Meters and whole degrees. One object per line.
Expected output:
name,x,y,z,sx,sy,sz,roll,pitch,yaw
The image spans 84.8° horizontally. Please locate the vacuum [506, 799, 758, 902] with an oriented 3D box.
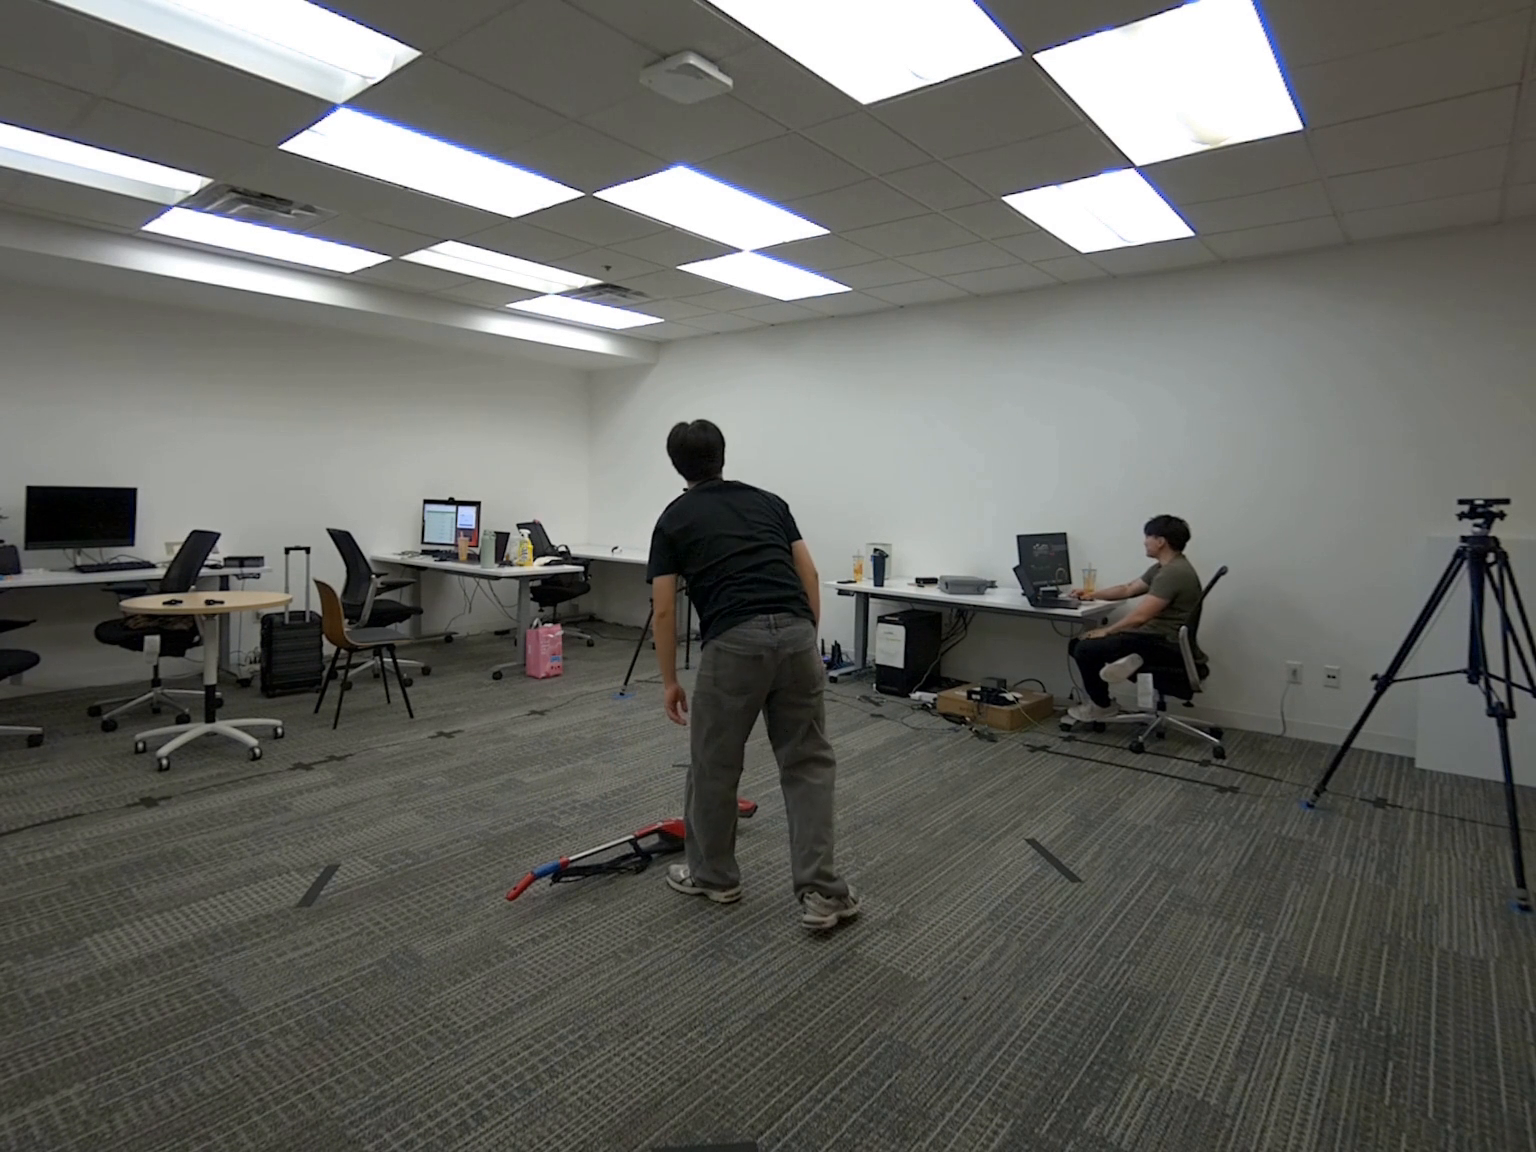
vacuum,-0.504,1.004,3.126,0.262,0.143,1.018,9,10,42
